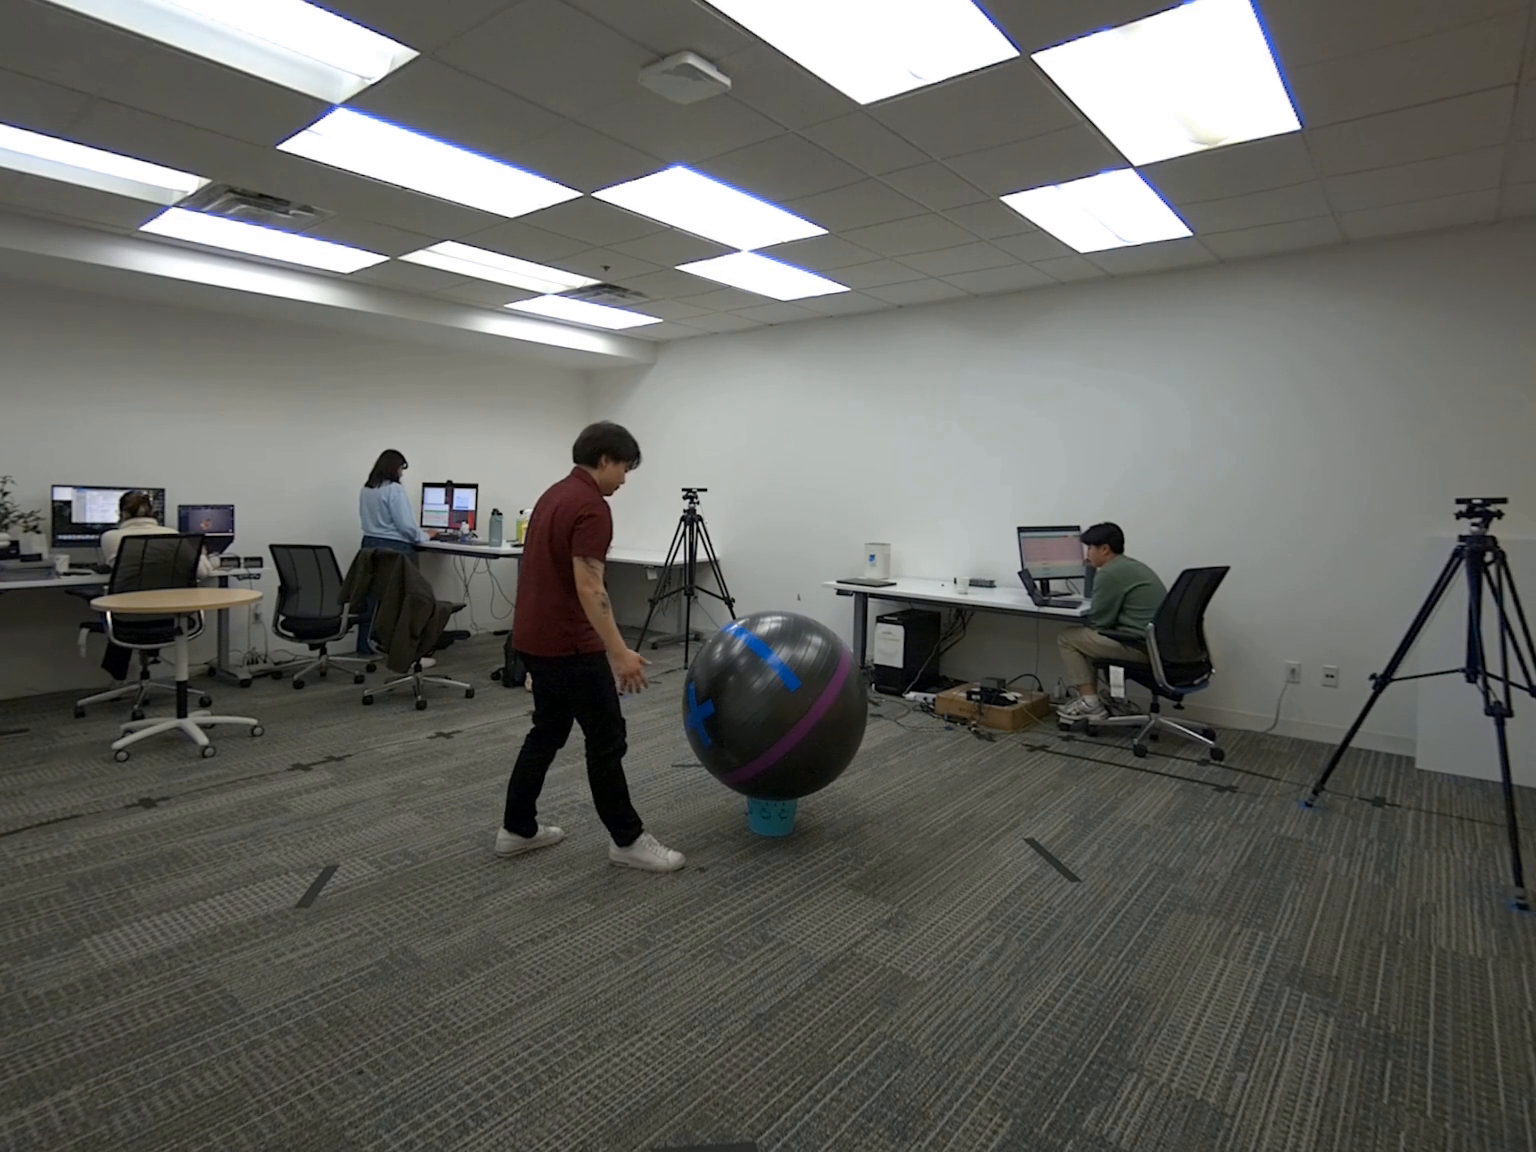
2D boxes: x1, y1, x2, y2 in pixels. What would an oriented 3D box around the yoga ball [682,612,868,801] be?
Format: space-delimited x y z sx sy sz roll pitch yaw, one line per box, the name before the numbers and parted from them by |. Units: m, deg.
yoga ball | 0.025 0.532 3.496 0.757 0.755 0.762 1 4 -2
